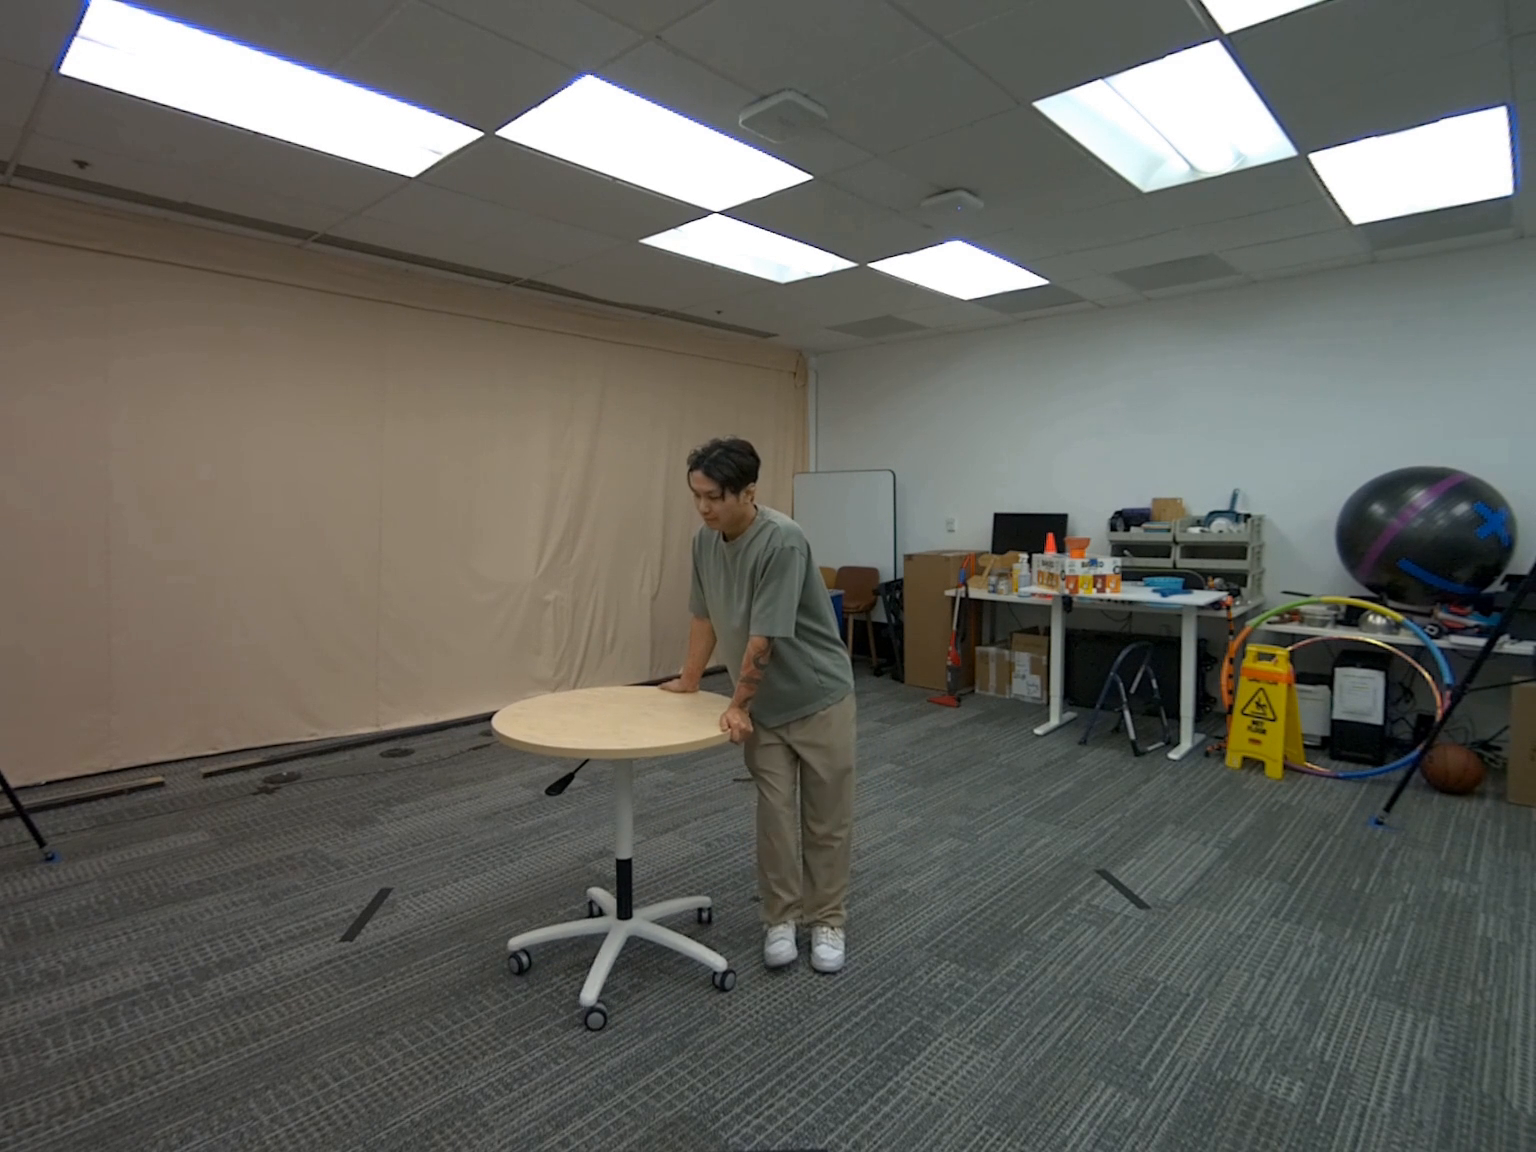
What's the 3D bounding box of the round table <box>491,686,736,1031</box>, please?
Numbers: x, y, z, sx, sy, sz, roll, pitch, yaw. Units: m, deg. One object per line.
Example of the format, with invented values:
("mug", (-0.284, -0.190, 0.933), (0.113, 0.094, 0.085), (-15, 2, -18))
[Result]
("round table", (-0.439, 0.799, 2.577), (0.784, 0.784, 0.788), (0, 4, -2))
